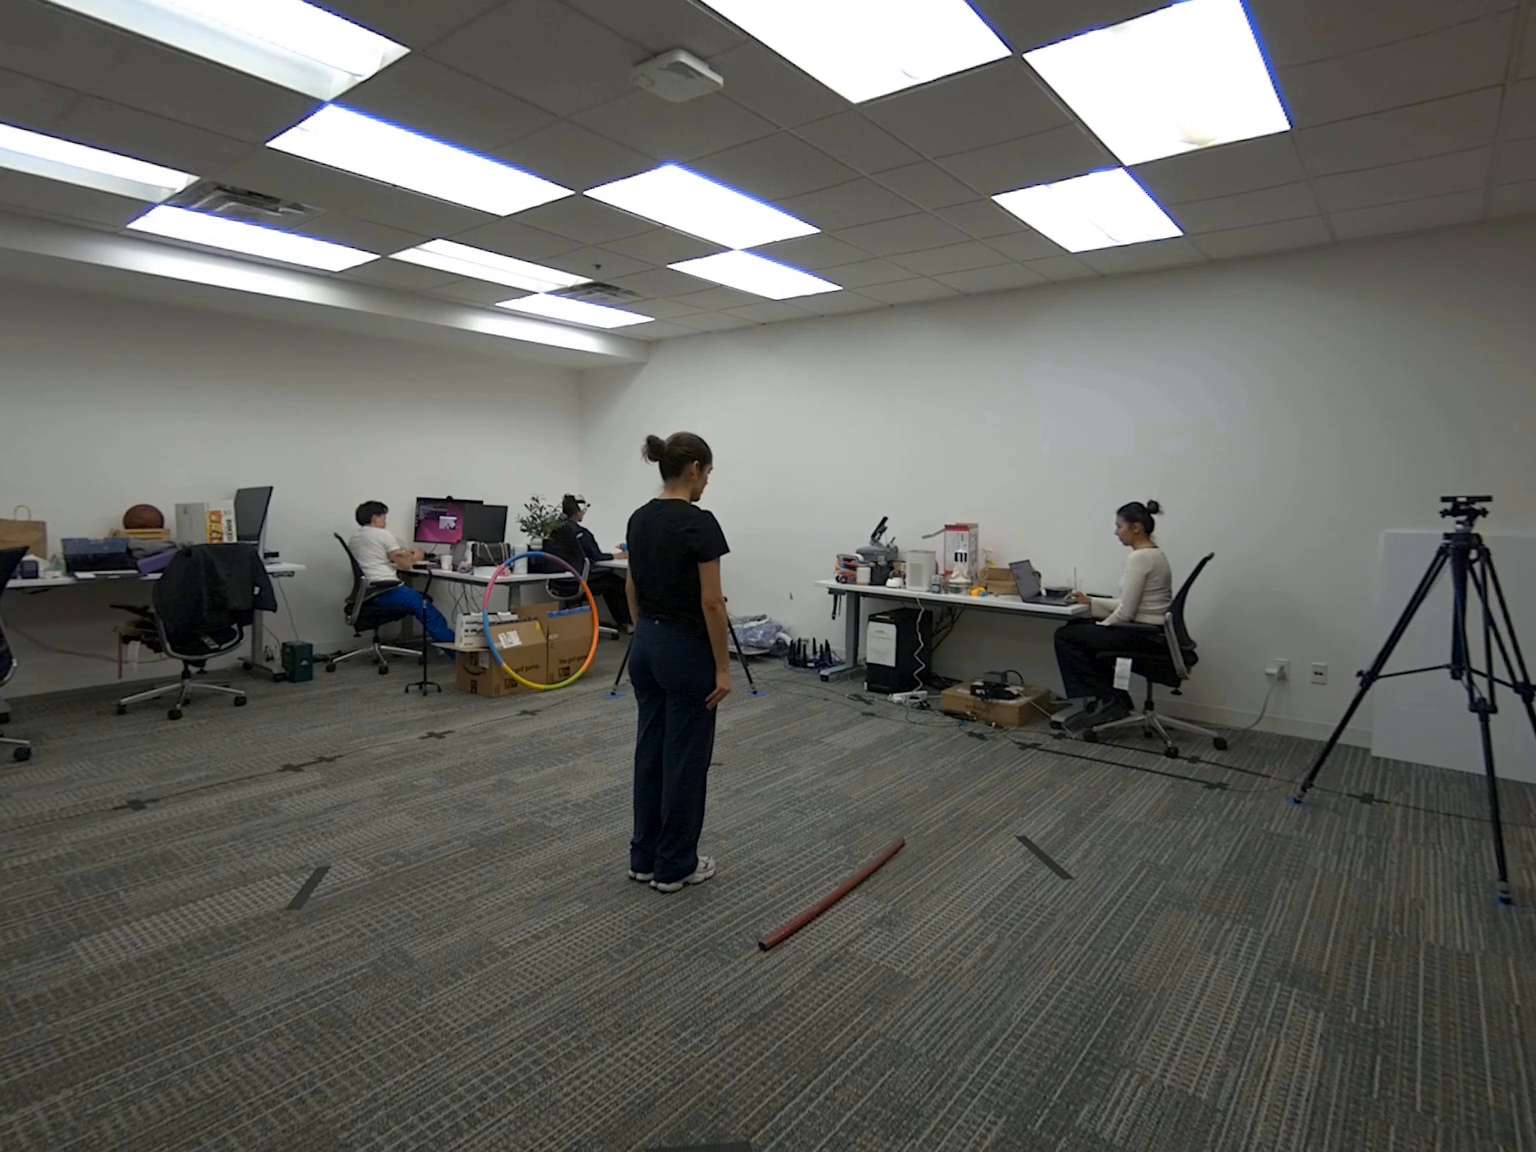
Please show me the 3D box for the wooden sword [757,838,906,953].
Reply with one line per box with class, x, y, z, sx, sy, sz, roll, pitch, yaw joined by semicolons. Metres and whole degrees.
wooden sword;0.265;1.066;2.974;0.053;0.024;0.997;24;17;30
